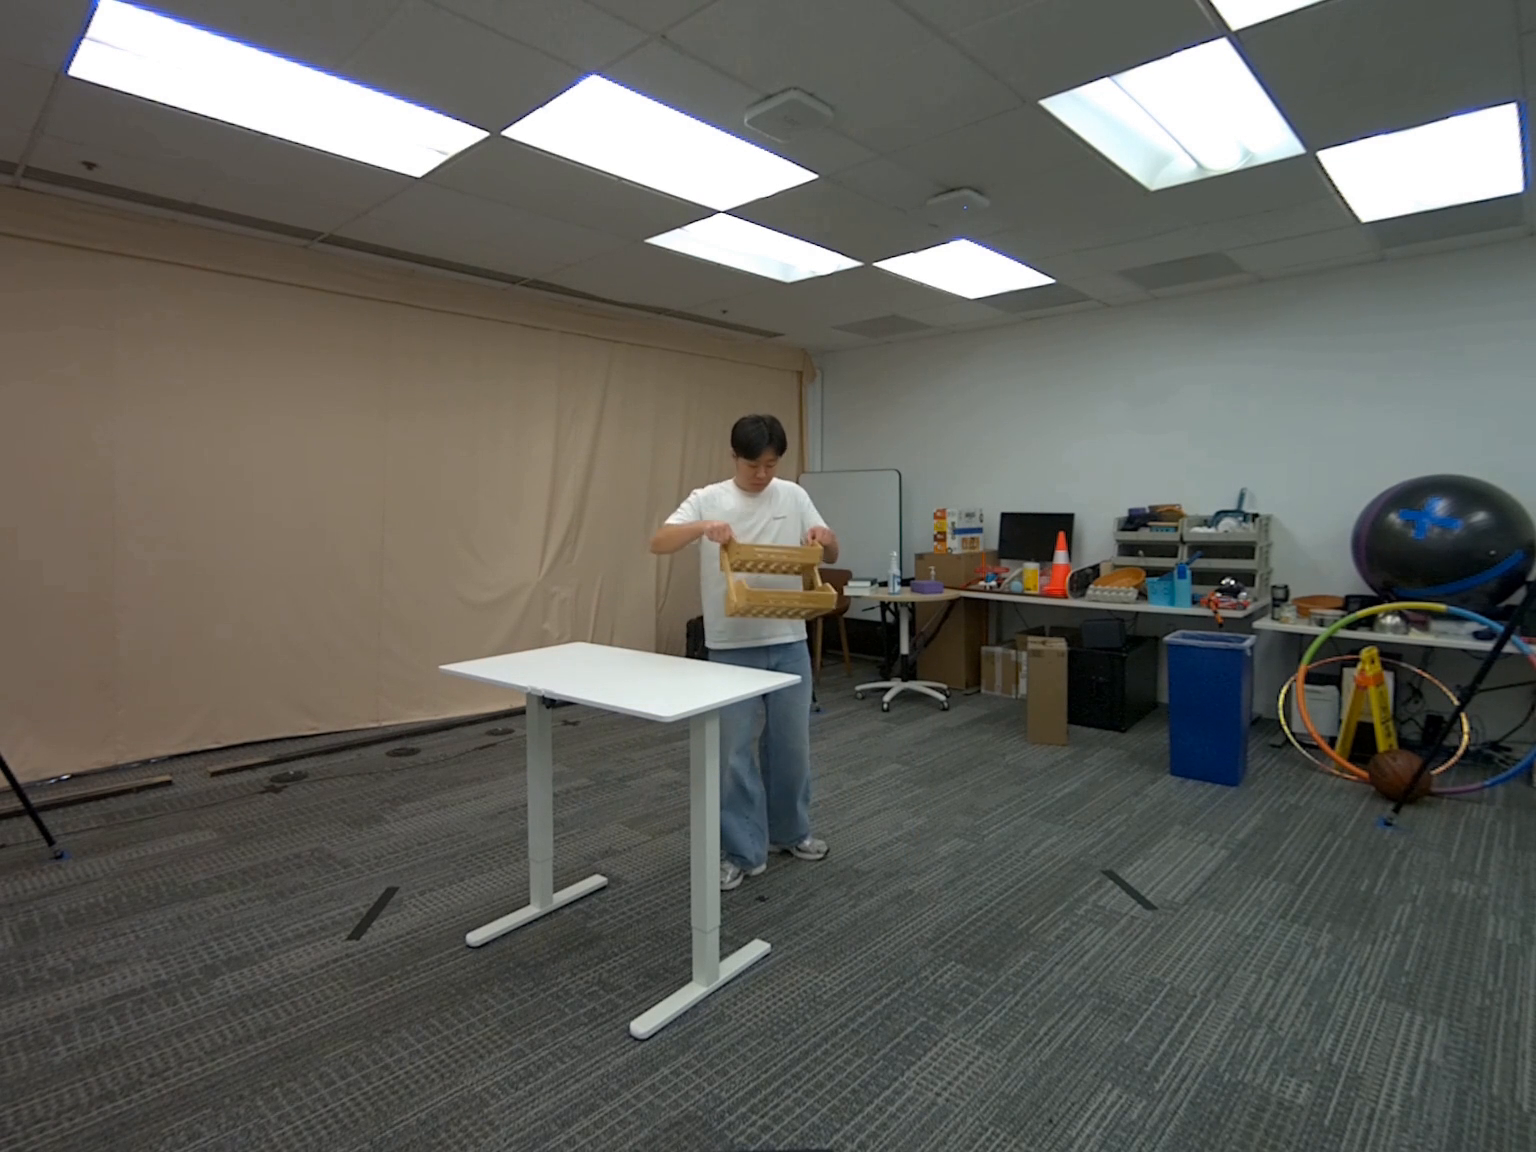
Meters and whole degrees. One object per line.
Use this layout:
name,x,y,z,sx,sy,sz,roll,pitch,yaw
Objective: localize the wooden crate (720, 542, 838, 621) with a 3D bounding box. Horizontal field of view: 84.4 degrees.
wooden crate,0.022,0.010,2.807,0.319,0.276,0.304,2,-14,-16
